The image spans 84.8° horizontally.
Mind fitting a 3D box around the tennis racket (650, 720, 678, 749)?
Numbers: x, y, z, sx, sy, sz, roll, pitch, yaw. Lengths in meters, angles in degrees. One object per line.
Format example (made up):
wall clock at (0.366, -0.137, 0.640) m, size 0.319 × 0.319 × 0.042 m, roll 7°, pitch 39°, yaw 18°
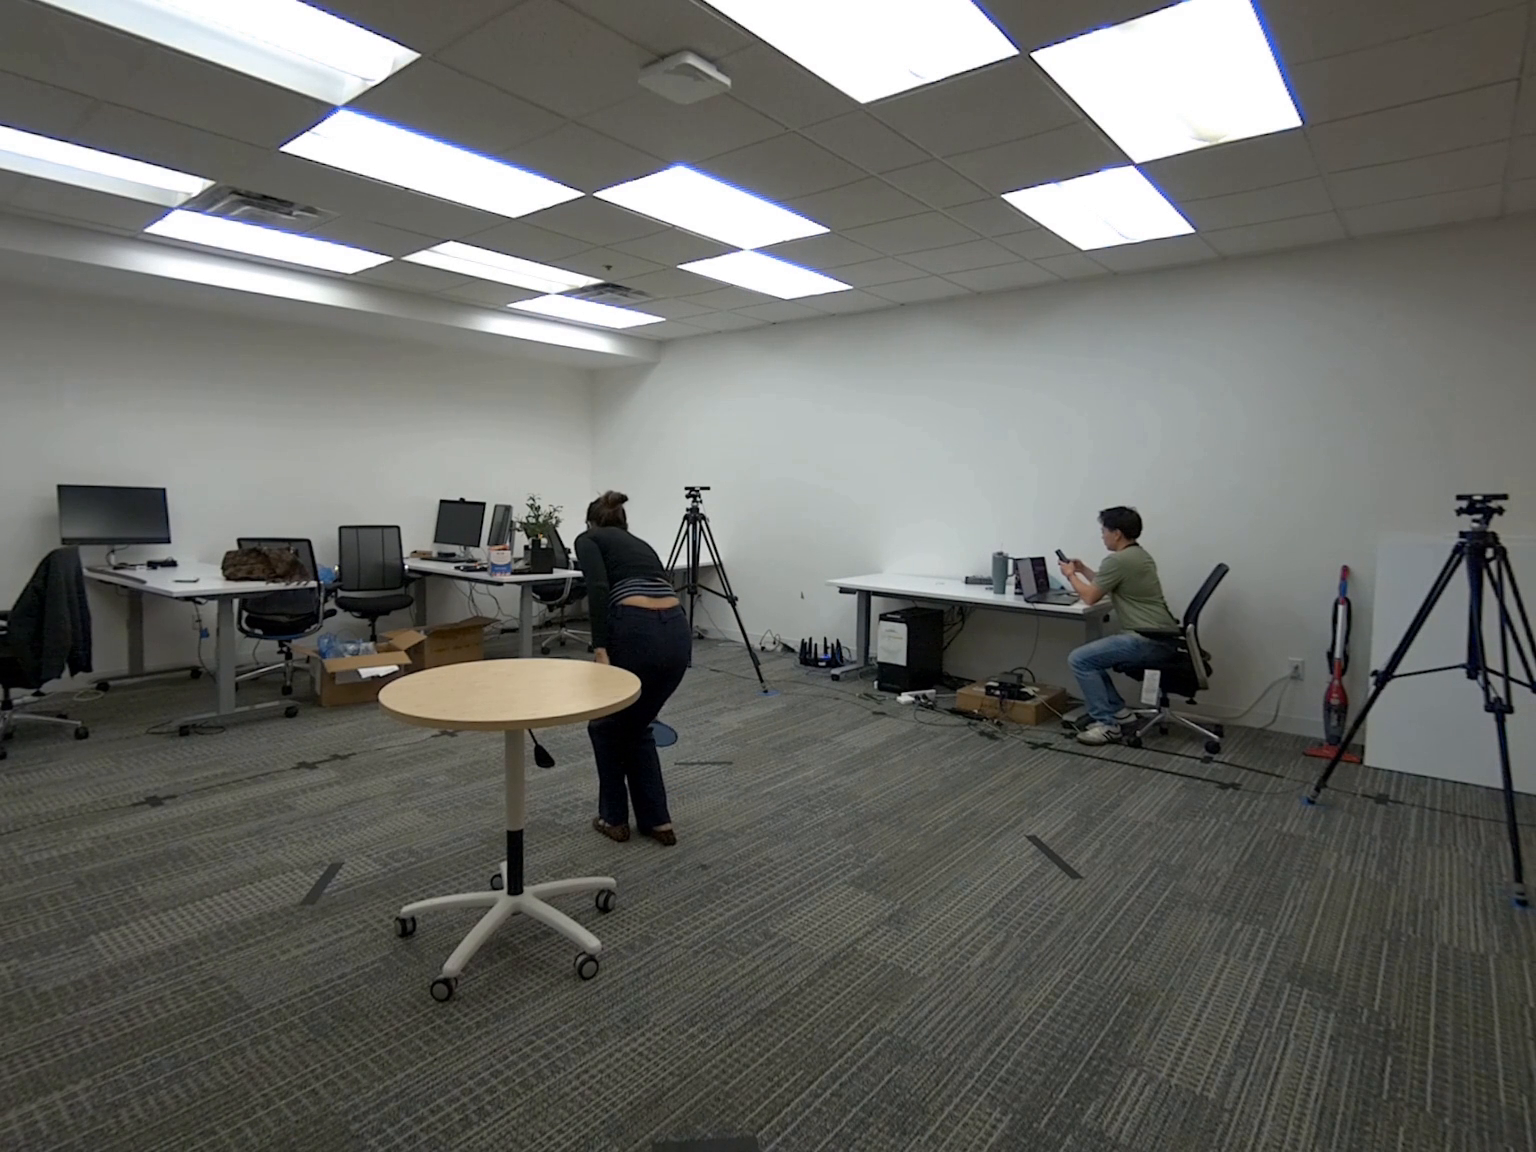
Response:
tennis racket at (-0.535, 0.685, 3.872) m, size 0.213 × 0.032 × 0.422 m, roll 6°, pitch -37°, yaw -2°
